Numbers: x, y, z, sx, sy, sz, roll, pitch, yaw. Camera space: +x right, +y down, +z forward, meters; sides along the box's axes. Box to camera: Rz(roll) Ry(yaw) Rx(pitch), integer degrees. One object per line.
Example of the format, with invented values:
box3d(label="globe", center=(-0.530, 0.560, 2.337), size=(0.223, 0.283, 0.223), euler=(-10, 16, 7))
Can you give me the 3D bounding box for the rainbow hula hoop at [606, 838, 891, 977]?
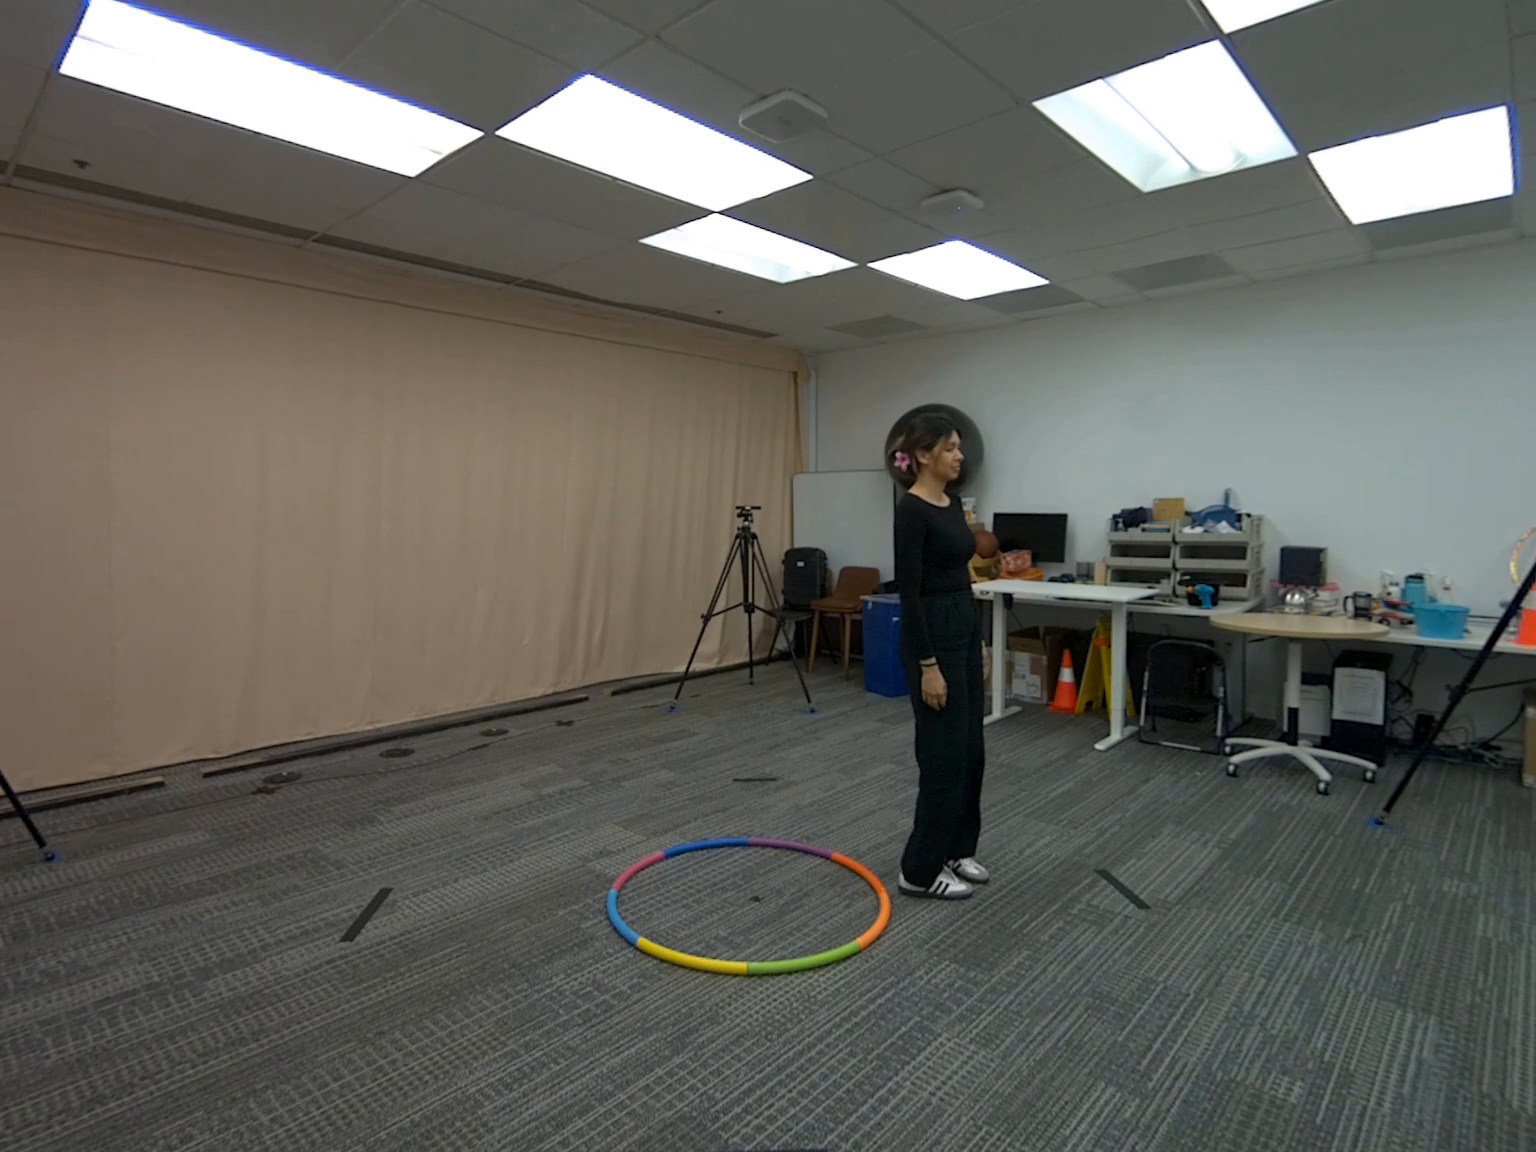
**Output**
box3d(label="rainbow hula hoop", center=(-0.069, 1.116, 2.974), size=(0.978, 0.035, 0.982), euler=(0, 5, -2))
